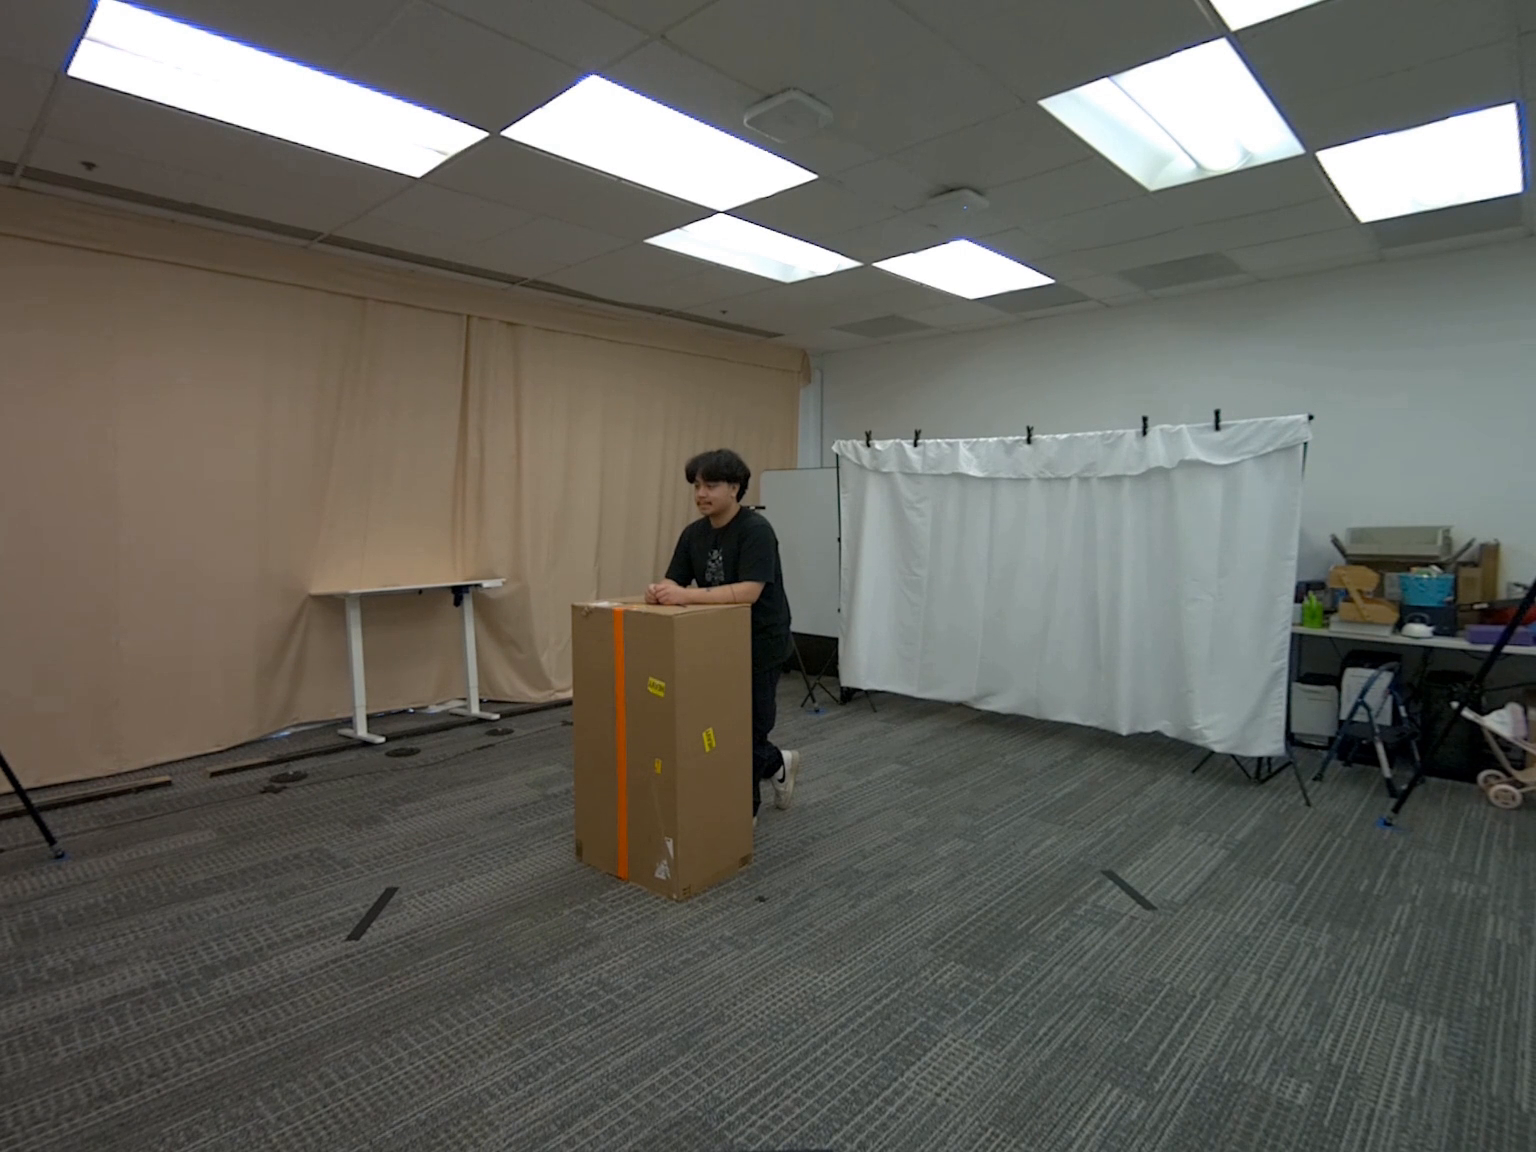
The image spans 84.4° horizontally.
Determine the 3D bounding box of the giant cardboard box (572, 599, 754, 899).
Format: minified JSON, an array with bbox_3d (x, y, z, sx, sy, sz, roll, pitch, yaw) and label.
[{"bbox_3d":[-0.420,0.613,3.282,0.603,1.025,0.433,2,4,41],"label":"giant cardboard box"}]
